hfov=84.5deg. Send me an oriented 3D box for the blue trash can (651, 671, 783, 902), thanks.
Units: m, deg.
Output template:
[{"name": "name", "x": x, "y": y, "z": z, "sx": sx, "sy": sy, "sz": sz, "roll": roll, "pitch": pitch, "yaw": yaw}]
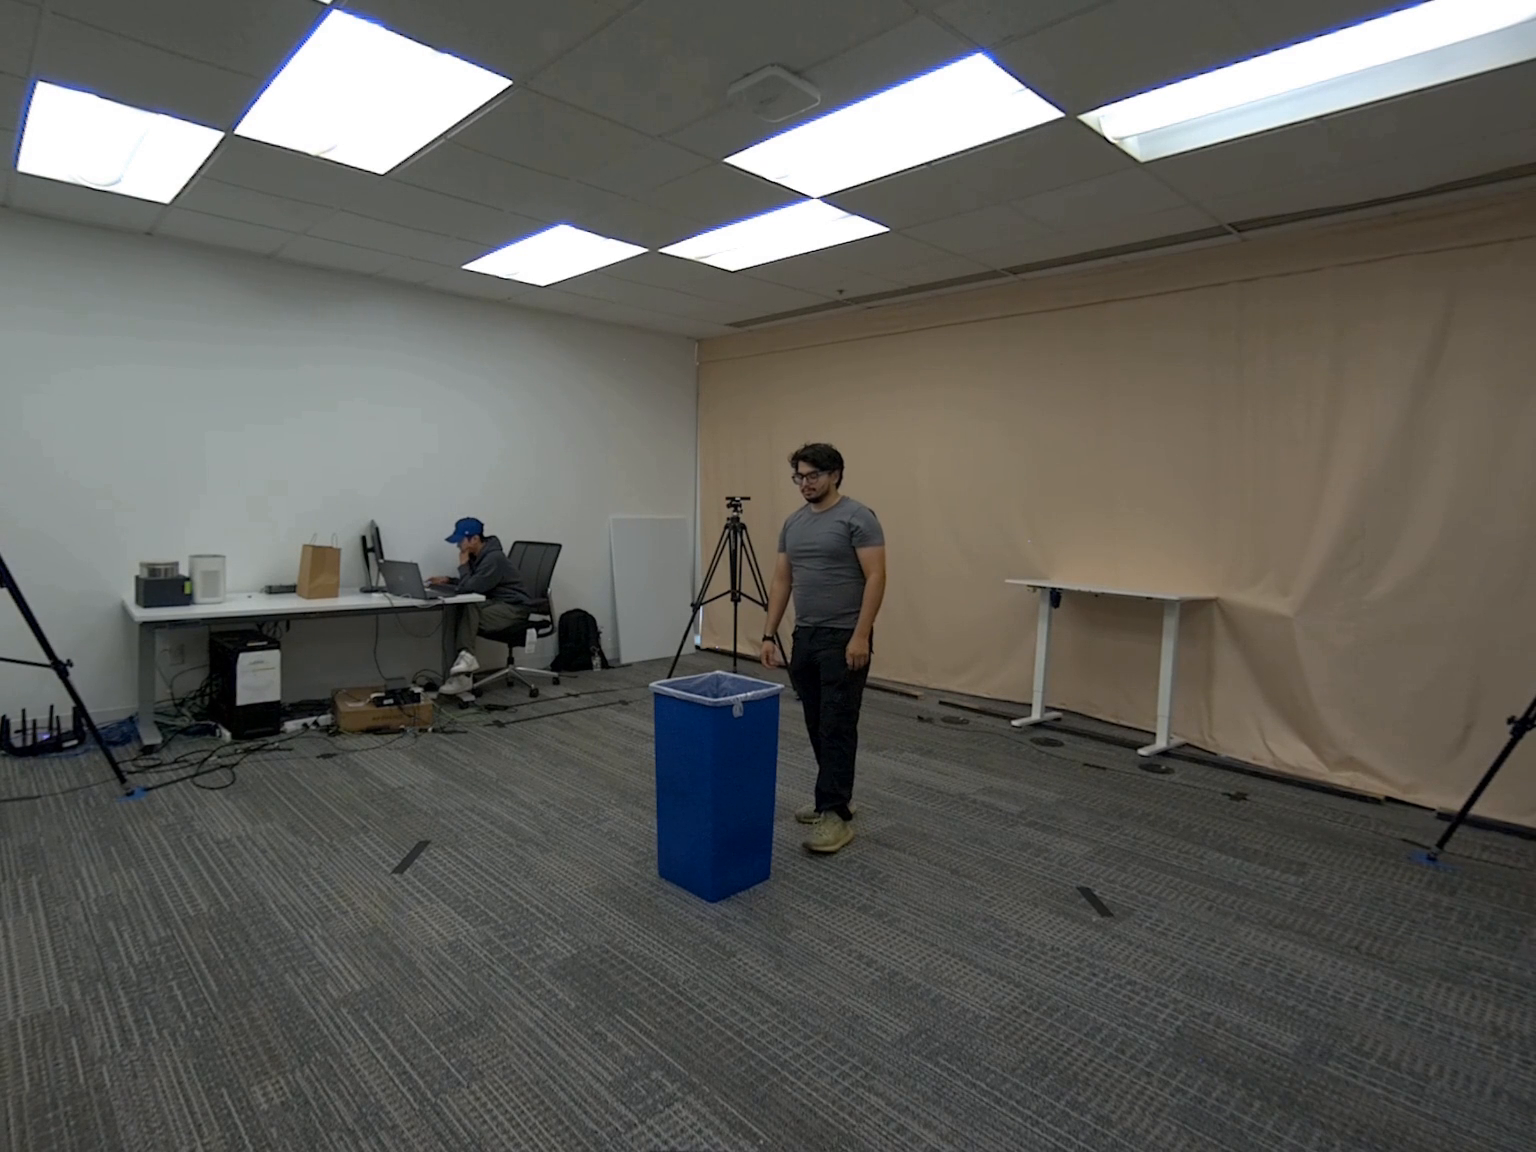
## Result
[{"name": "blue trash can", "x": -0.196, "y": 0.749, "z": 3.084, "sx": 0.387, "sy": 0.712, "sz": 0.365, "roll": 4, "pitch": 5, "yaw": 43}]
